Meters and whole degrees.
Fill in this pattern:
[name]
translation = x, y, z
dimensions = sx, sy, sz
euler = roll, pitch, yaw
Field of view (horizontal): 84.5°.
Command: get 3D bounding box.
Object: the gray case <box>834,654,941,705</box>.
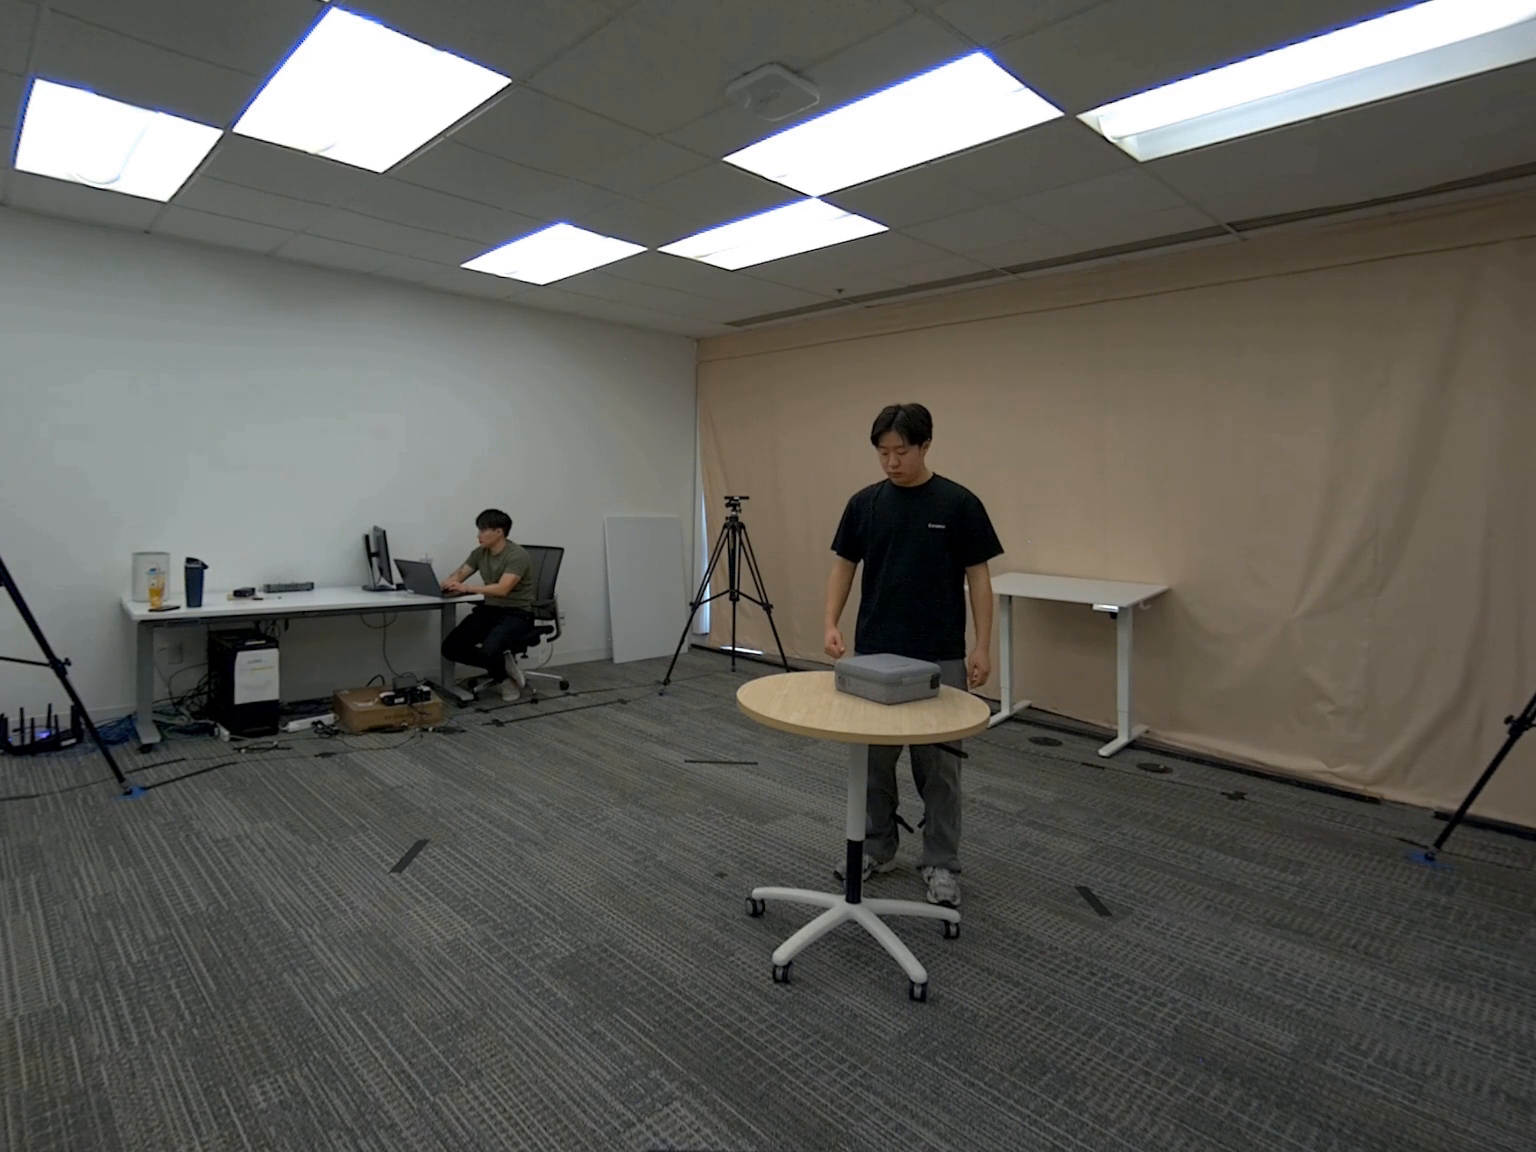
[gray case]
translation = 0.362, 0.323, 2.672
dimensions = 0.257, 0.103, 0.294
euler = -2, 6, -36
